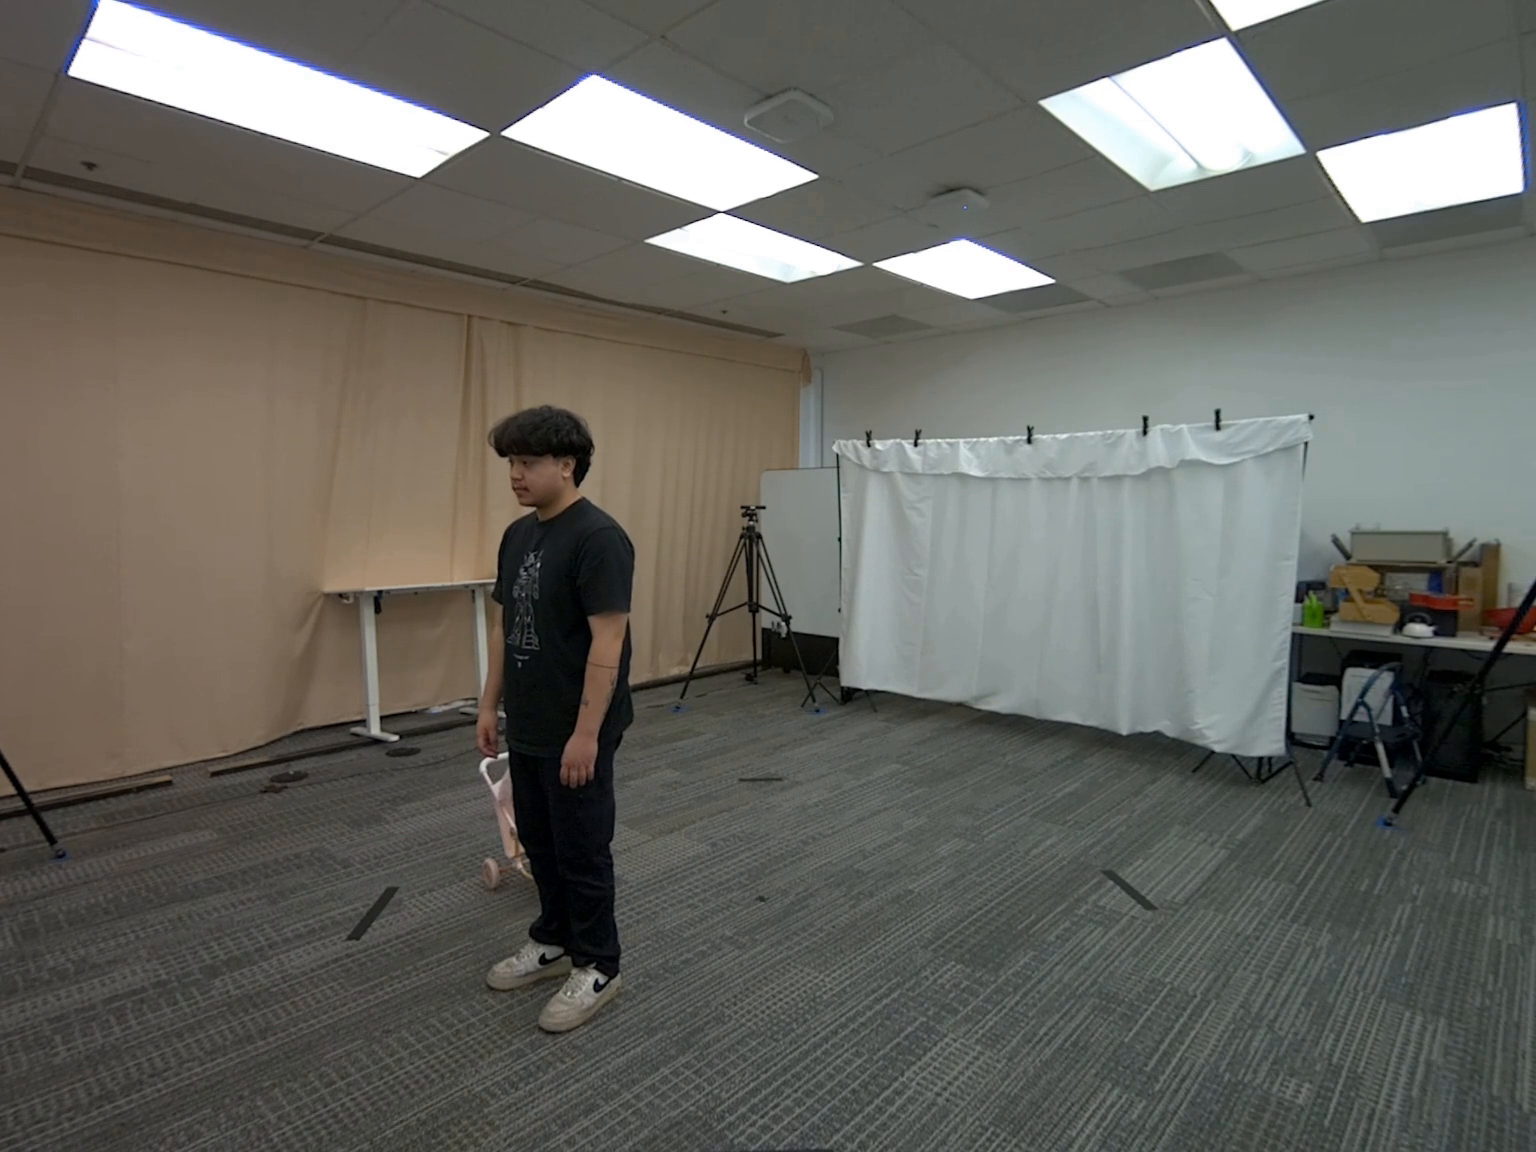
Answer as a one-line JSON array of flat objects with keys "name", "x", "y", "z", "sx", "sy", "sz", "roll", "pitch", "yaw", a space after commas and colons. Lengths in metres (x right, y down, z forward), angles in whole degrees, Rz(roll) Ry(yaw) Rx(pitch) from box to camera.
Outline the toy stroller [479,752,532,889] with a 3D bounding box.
[{"name": "toy stroller", "x": -0.891, "y": 0.926, "z": 3.108, "sx": 0.273, "sy": 0.539, "sz": 0.349, "roll": -3, "pitch": -12, "yaw": -39}]
